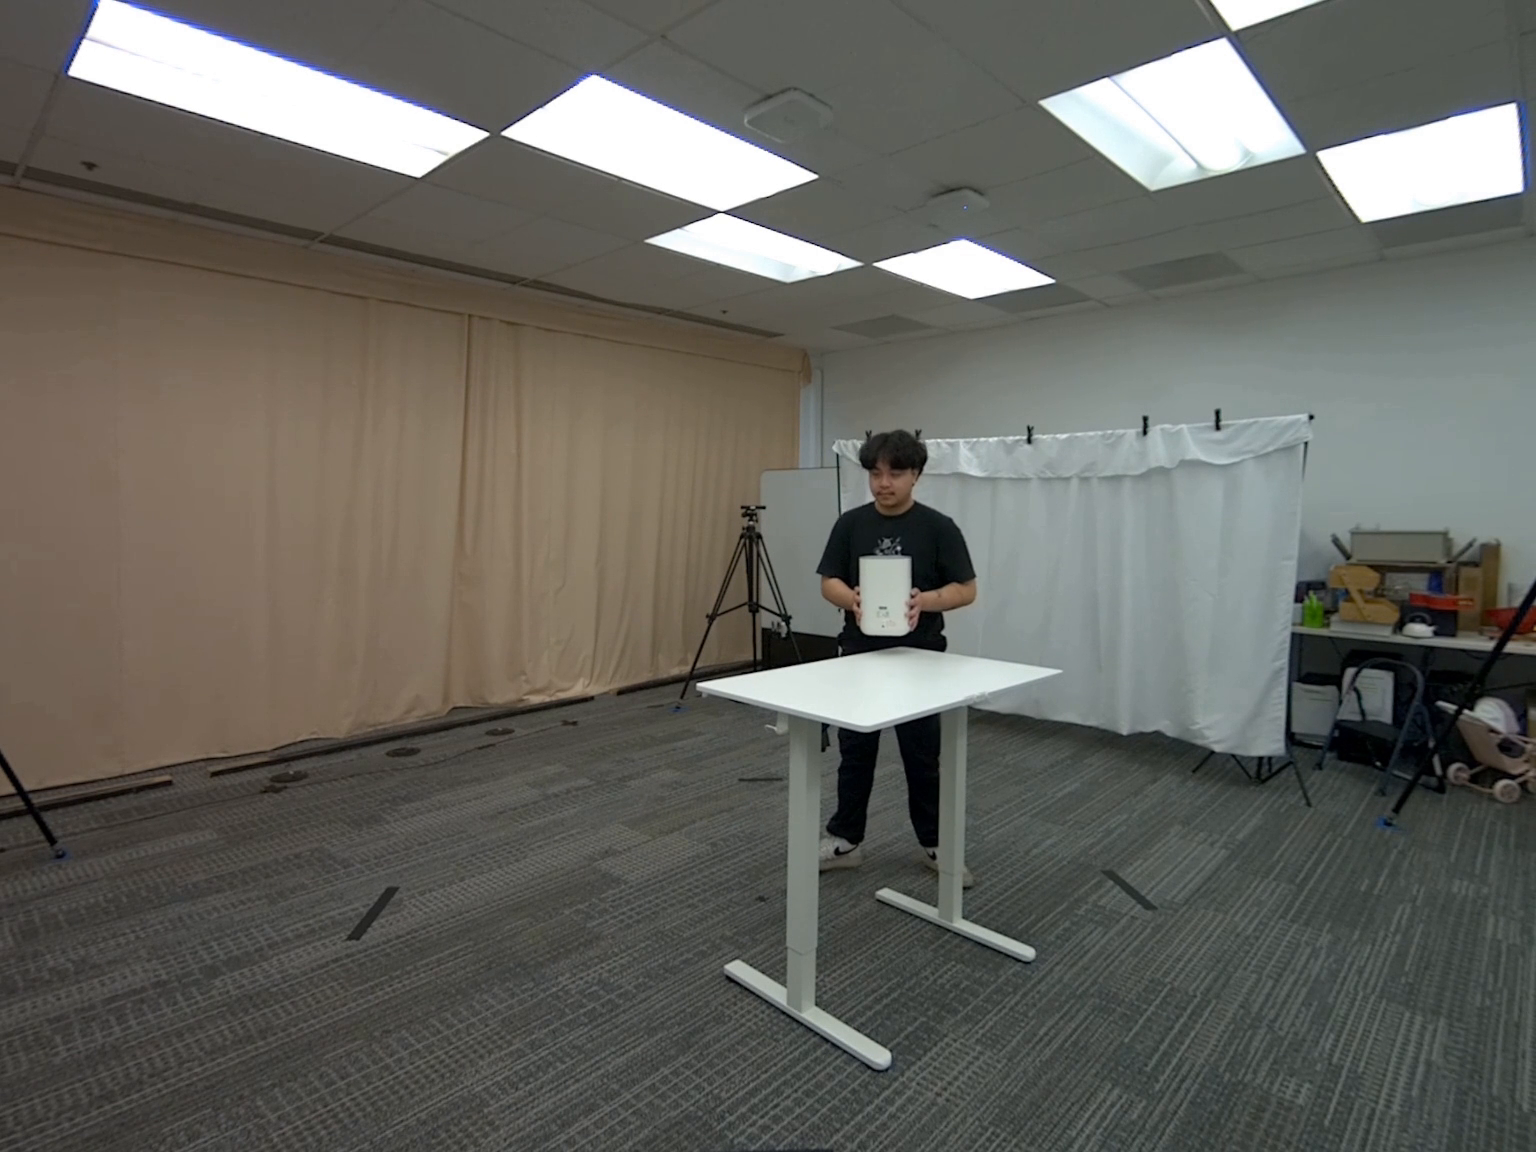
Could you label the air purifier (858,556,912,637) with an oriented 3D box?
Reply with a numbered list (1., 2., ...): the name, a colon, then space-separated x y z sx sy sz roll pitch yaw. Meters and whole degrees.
1. air purifier: 0.402 0.068 2.900 0.173 0.265 0.169 1 0 10
